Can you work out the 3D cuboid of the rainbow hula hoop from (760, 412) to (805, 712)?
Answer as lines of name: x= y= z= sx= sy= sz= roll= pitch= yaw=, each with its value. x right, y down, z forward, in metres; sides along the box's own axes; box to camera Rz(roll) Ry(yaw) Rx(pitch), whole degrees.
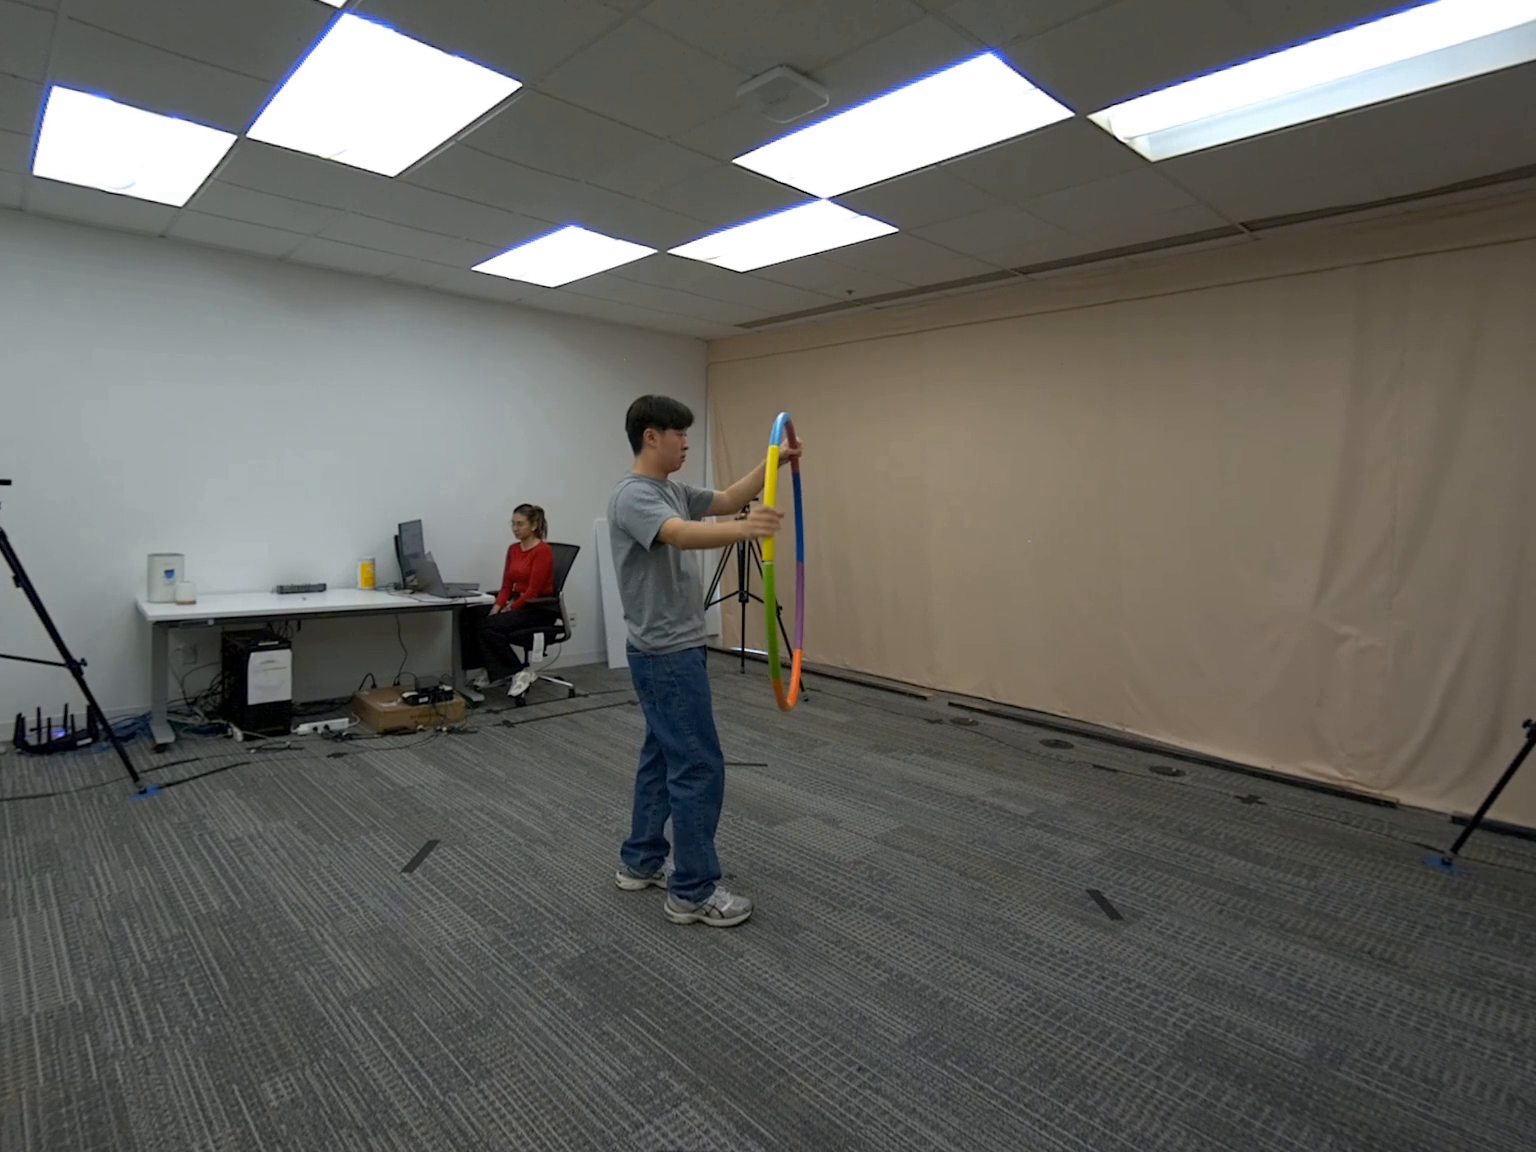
rainbow hula hoop: x=0.043 y=-0.048 z=2.838 sx=0.036 sy=0.976 sz=0.973 roll=-1 pitch=4 yaw=9
